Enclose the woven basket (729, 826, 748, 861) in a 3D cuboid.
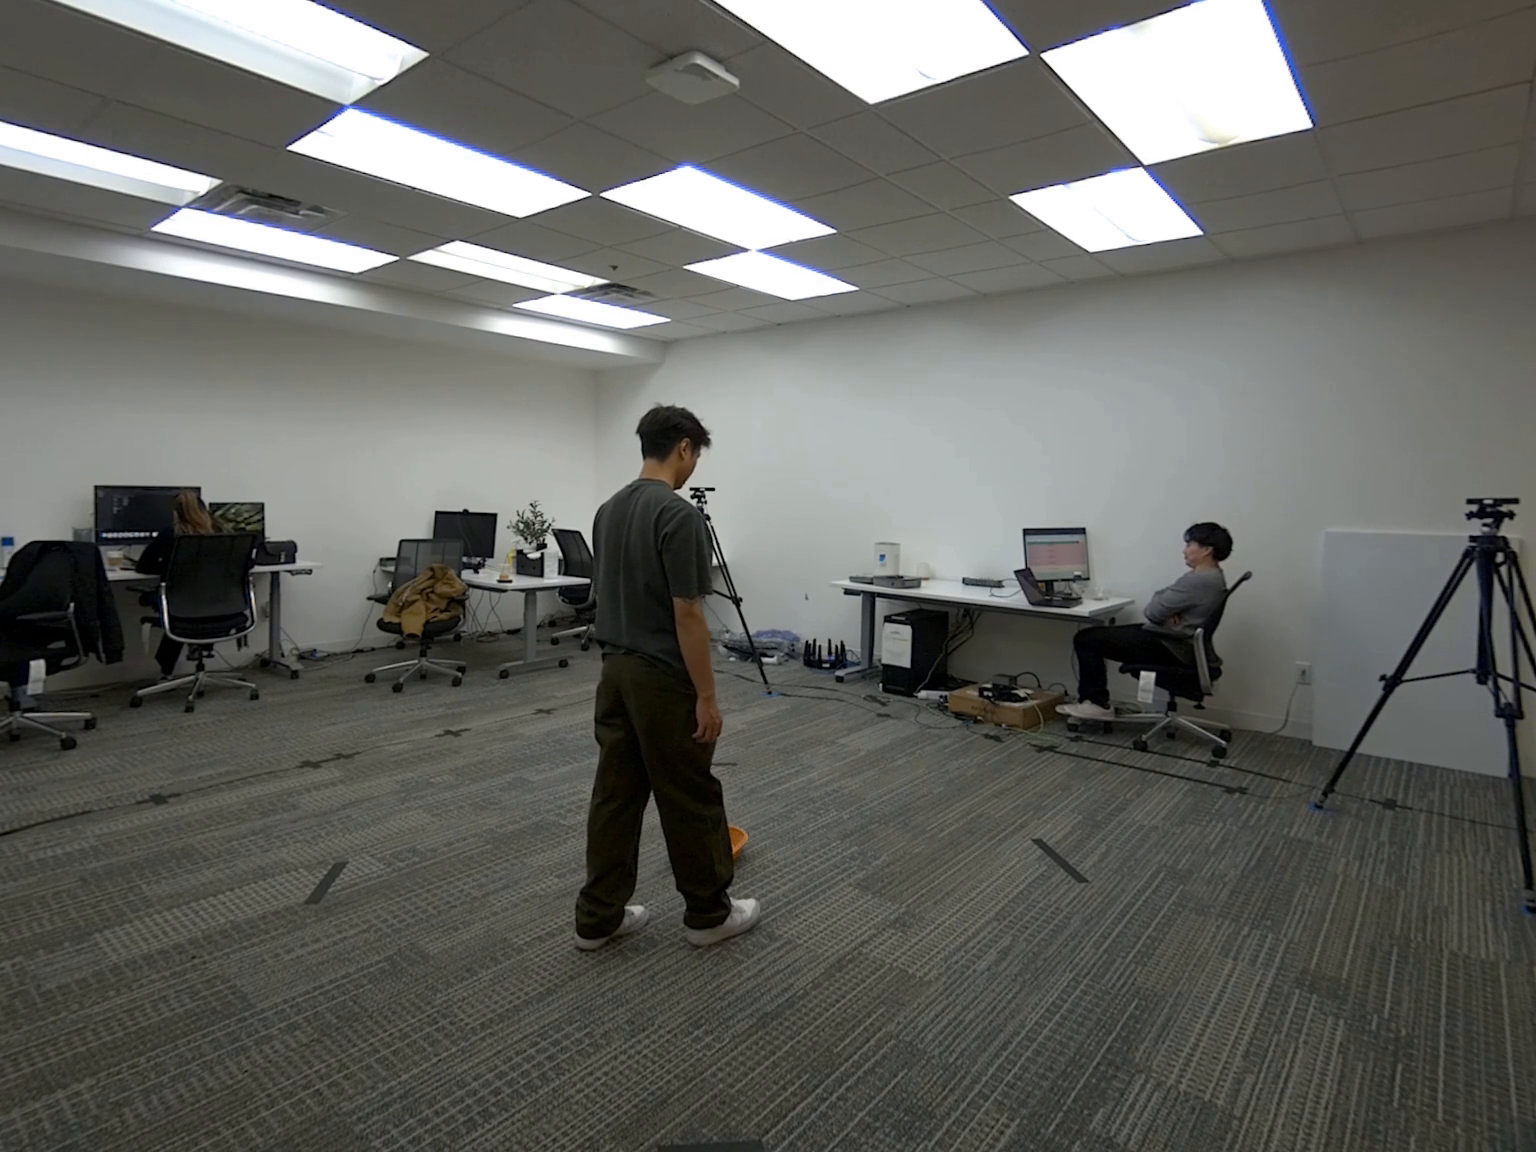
[{"bbox_3d":[-0.229,1.013,3.185,0.259,0.073,0.343,3,6,24],"label":"woven basket"}]
